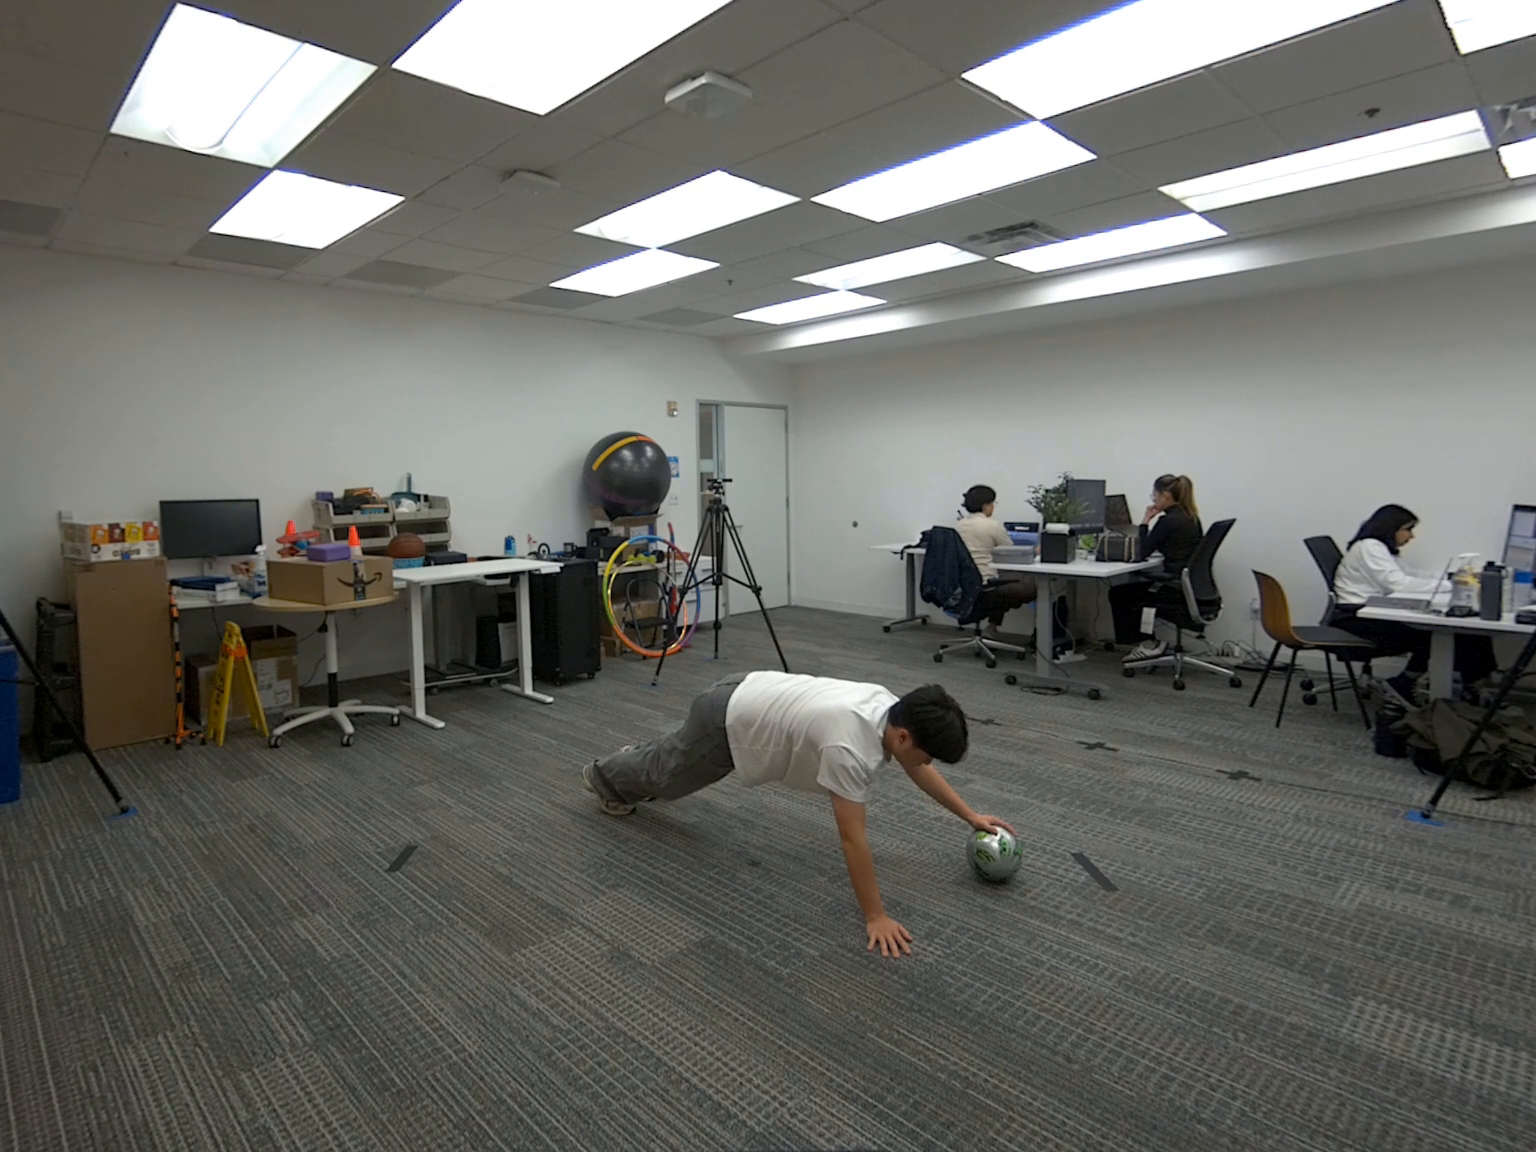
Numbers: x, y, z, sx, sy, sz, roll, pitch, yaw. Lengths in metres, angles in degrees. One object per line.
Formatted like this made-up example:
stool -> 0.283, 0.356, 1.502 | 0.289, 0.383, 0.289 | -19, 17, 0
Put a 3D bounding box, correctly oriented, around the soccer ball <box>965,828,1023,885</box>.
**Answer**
soccer ball -> 0.771, 0.950, 2.947 | 0.187, 0.187, 0.188 | -1, 5, -2
